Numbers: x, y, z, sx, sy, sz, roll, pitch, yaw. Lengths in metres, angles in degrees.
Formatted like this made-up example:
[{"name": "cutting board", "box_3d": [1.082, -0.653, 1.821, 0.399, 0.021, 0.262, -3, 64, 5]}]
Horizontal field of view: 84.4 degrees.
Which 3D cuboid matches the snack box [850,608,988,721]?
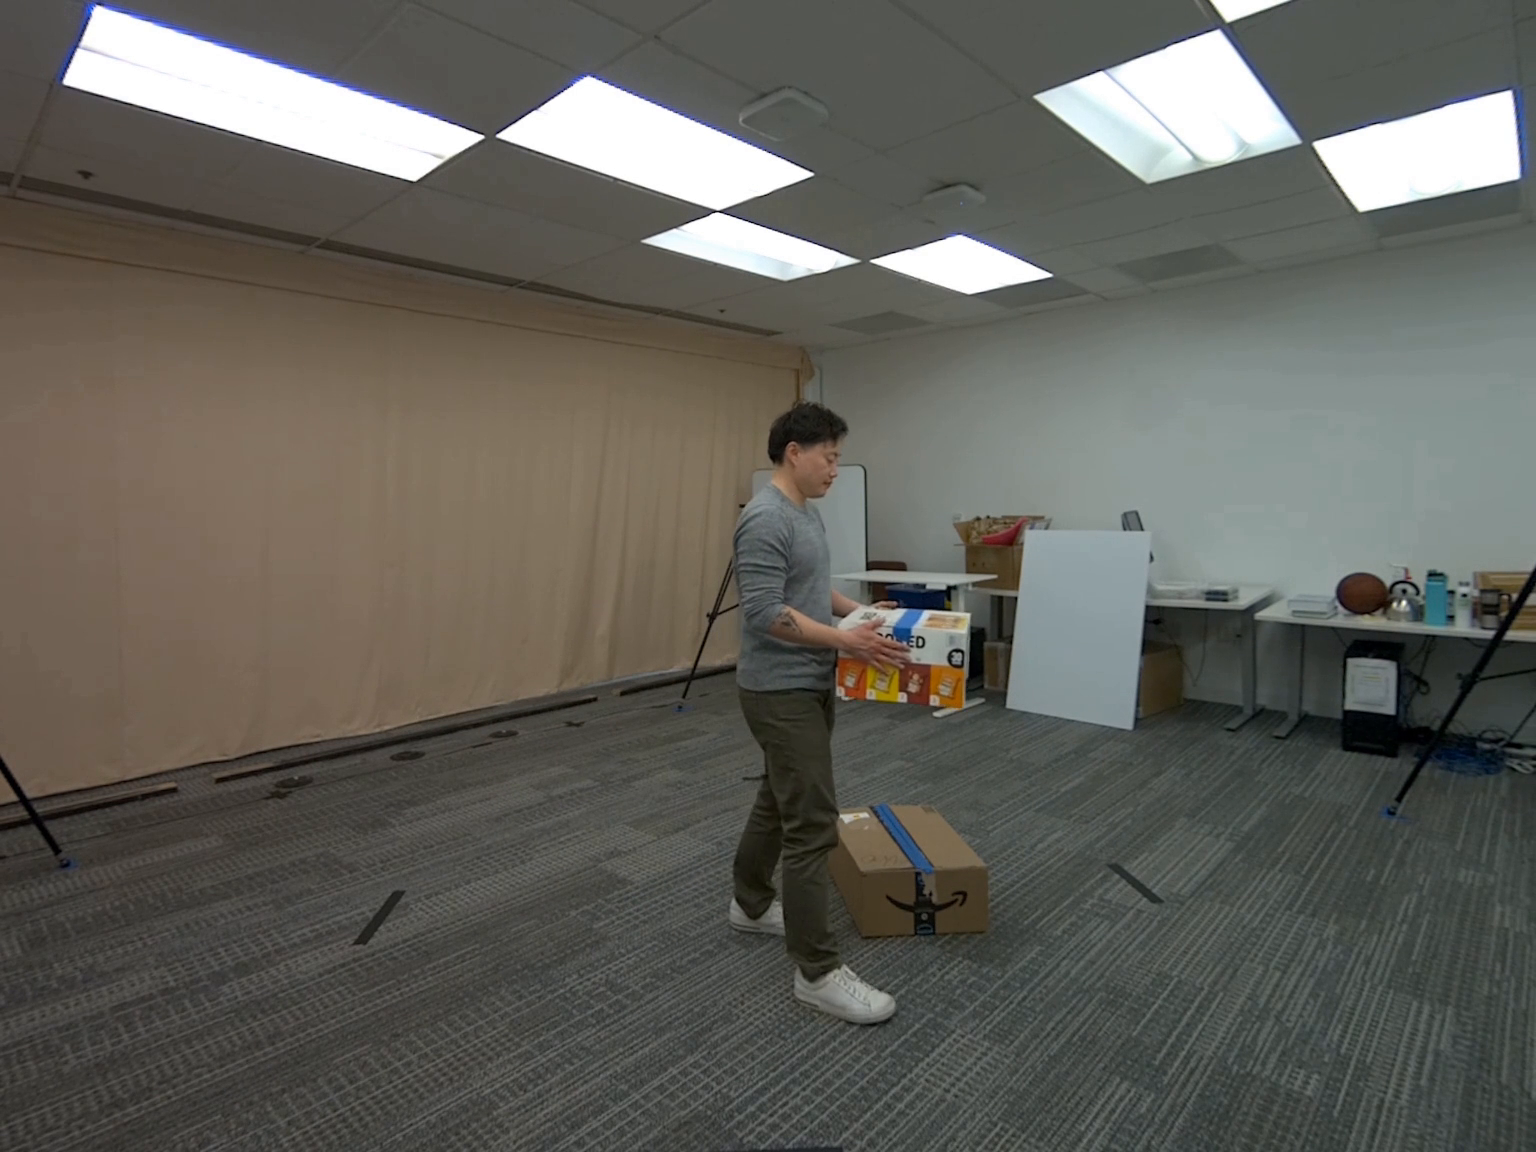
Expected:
[{"name": "snack box", "box_3d": [0.431, 0.234, 2.403, 0.346, 0.205, 0.400, 3, 7, 14]}]
